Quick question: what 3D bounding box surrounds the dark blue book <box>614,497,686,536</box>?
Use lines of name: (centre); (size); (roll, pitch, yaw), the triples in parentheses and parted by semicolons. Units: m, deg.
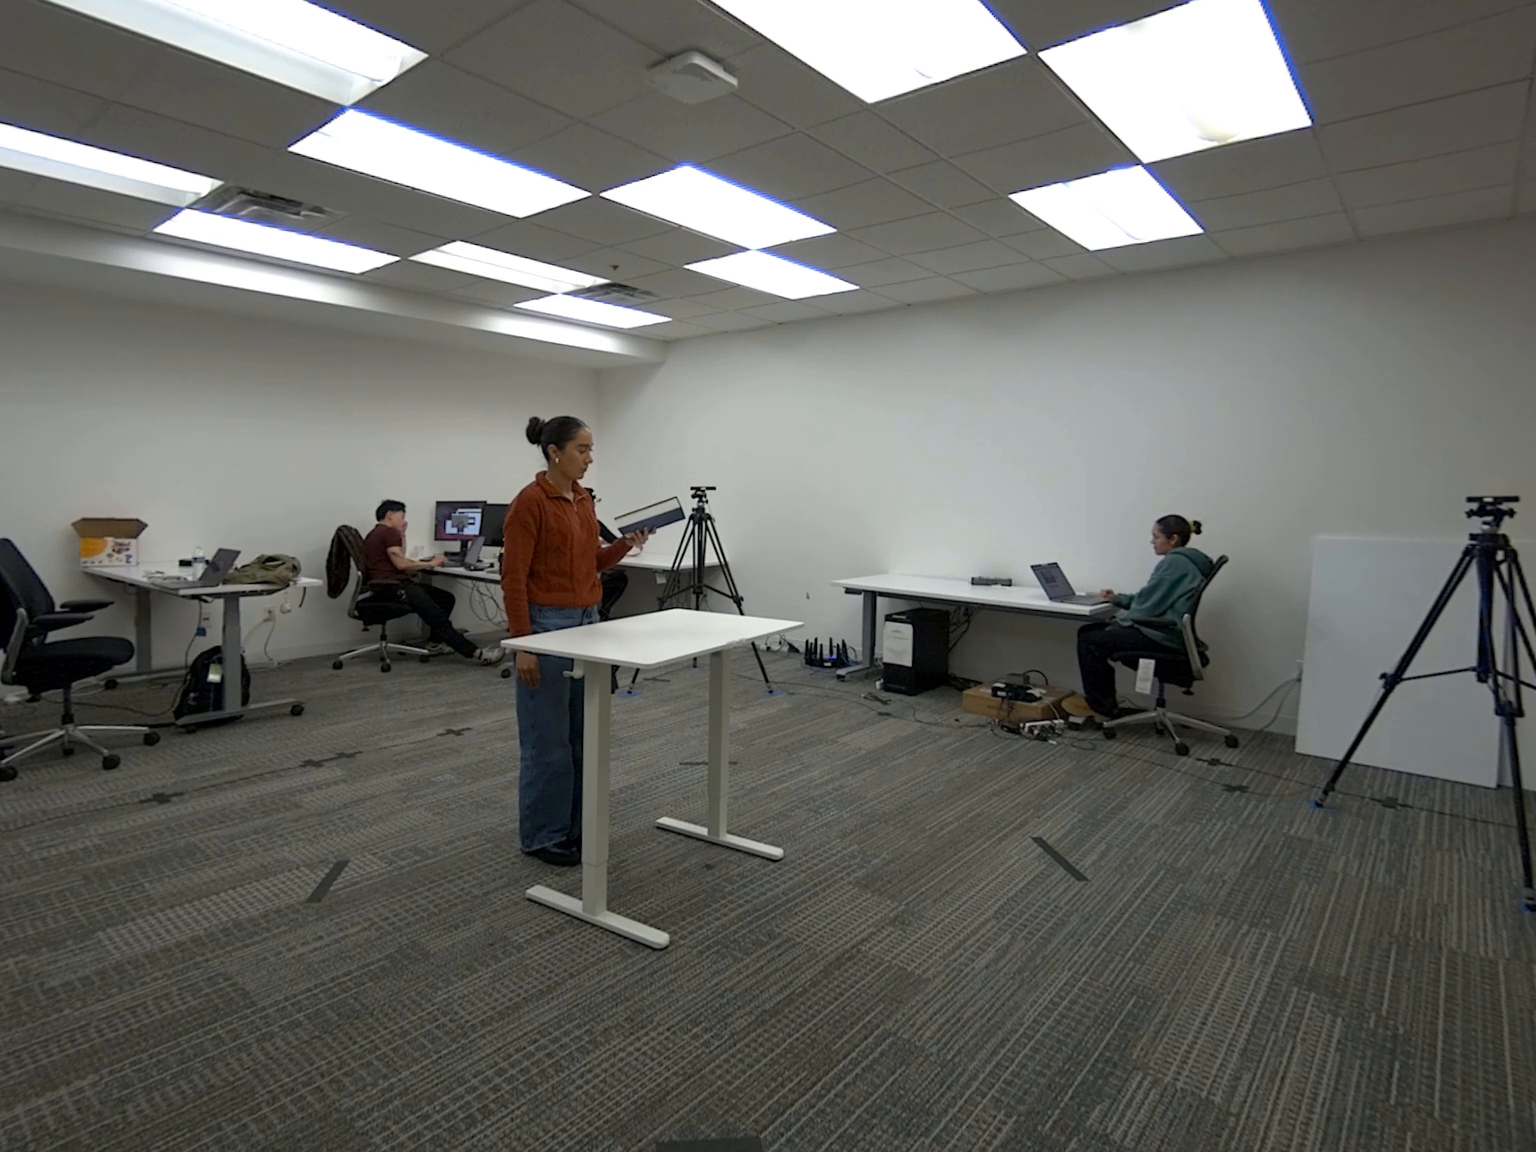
dark blue book: (-0.455, -0.221, 3.182); (0.245, 0.046, 0.160); (-17, -13, 1)
